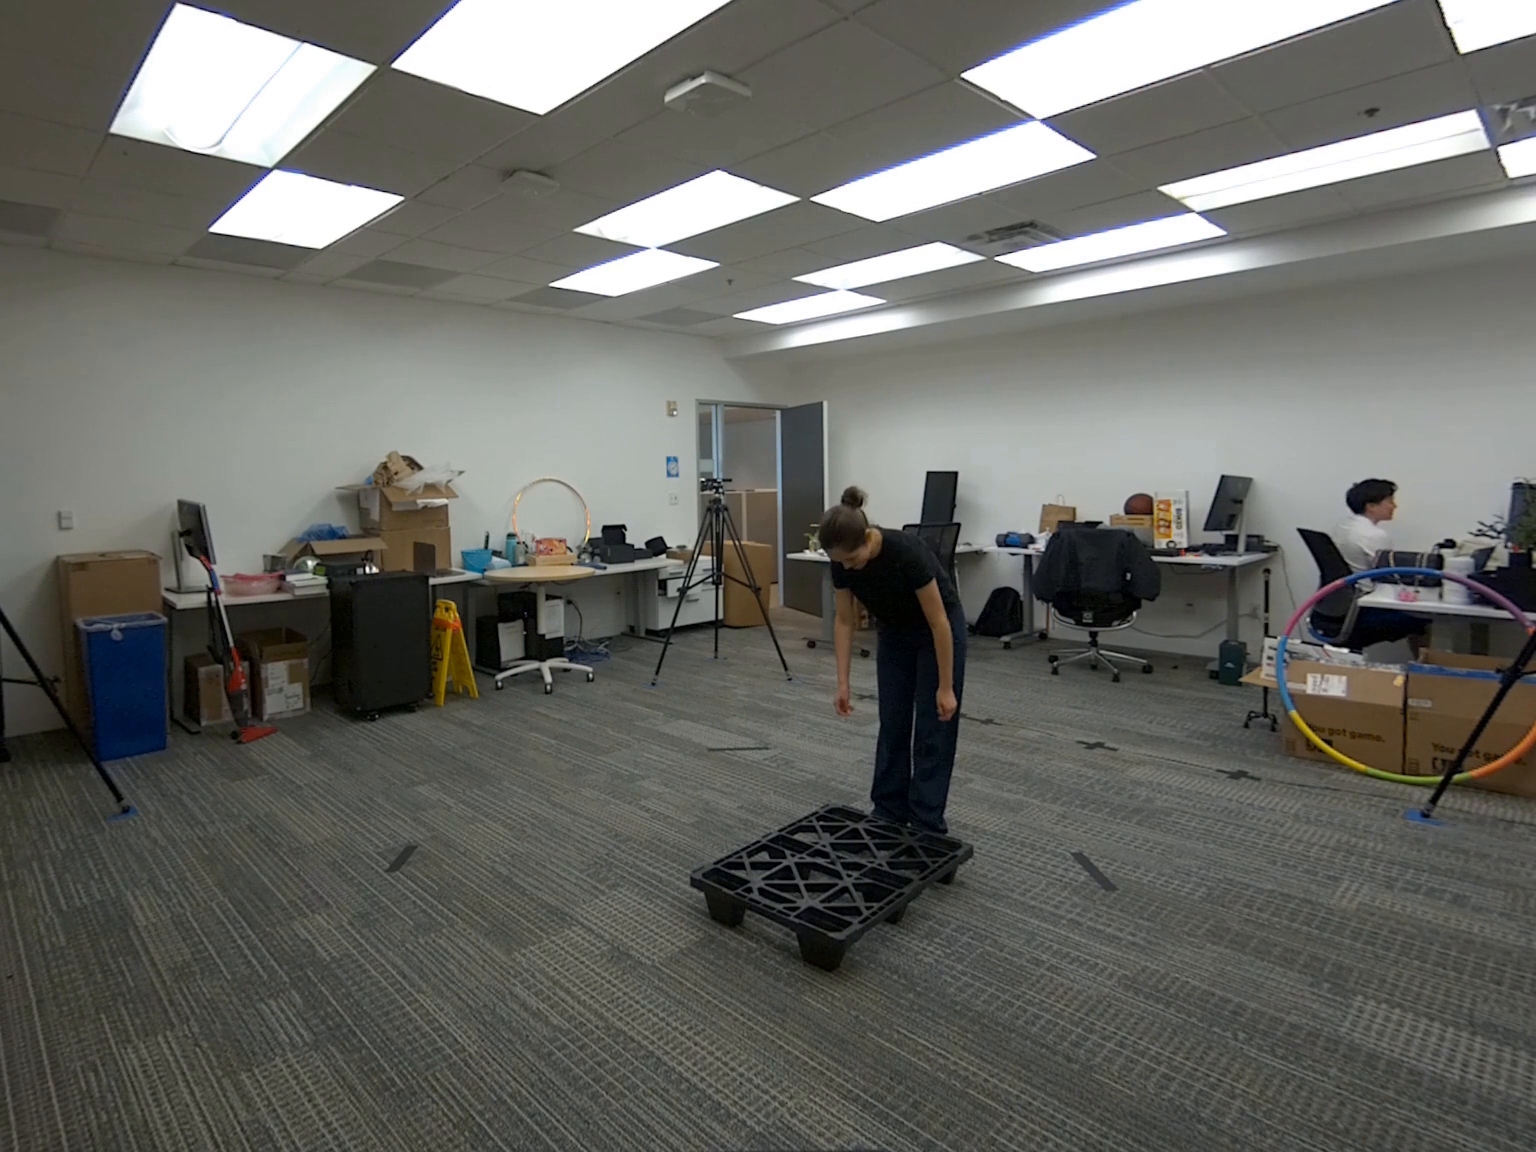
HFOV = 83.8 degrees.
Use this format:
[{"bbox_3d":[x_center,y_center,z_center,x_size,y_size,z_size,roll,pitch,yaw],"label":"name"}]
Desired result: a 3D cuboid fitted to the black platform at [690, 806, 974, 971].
[{"bbox_3d":[0.232,1.004,2.846,0.624,0.142,0.785,5,9,40],"label":"black platform"}]
